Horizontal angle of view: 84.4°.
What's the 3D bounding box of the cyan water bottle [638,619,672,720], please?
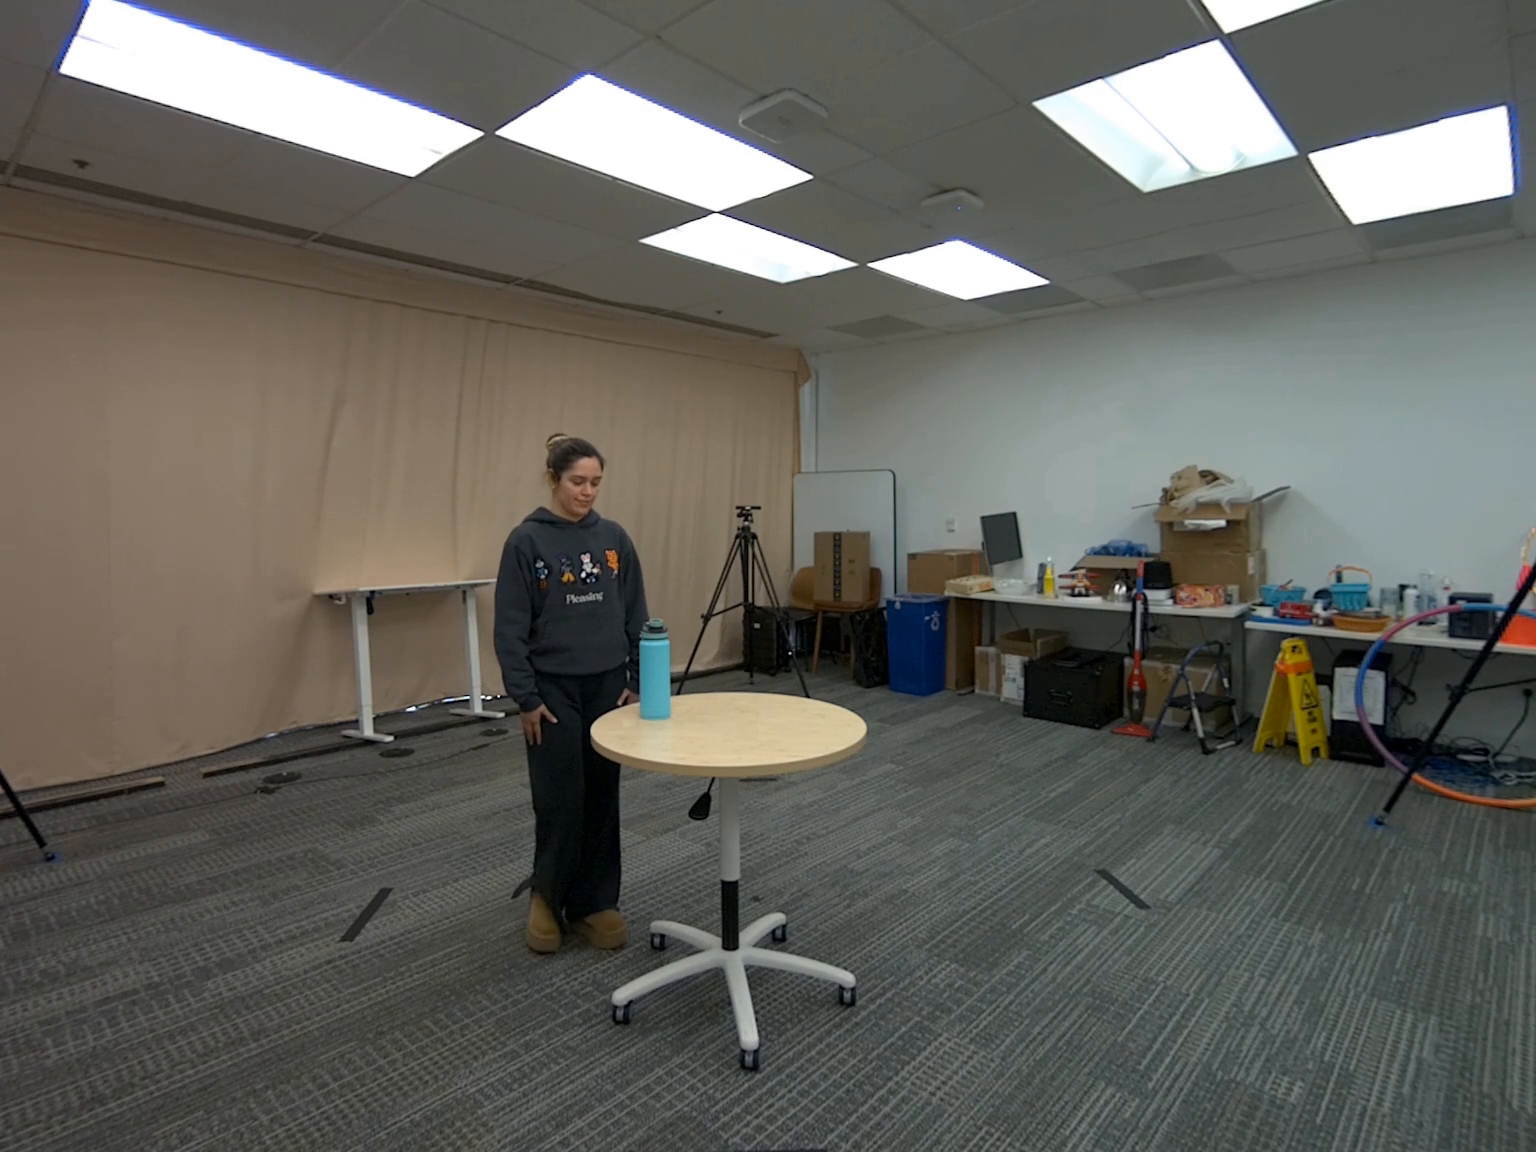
[{"bbox_3d":[-0.318,0.273,2.446,0.092,0.283,0.092,-3,2,-2],"label":"cyan water bottle"}]
